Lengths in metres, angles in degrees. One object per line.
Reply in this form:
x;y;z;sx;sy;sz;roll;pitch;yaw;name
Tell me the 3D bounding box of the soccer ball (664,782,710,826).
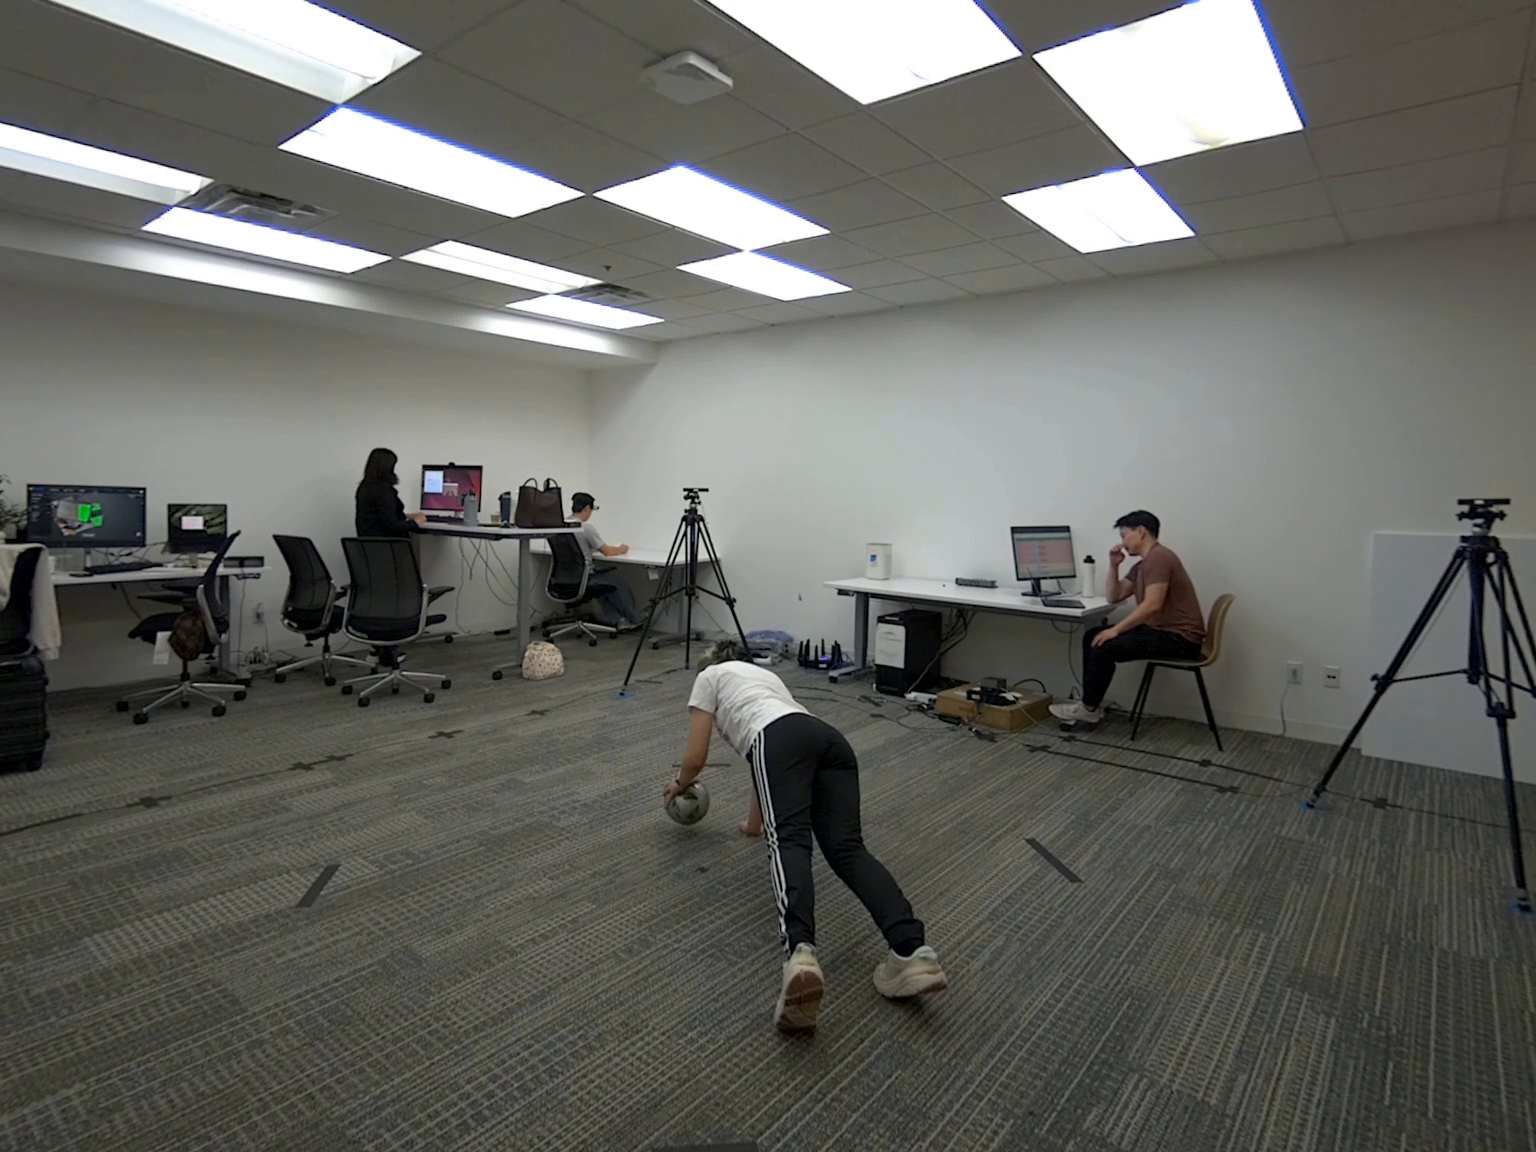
-0.341;0.899;3.433;0.187;0.187;0.188;1;4;-2;soccer ball
